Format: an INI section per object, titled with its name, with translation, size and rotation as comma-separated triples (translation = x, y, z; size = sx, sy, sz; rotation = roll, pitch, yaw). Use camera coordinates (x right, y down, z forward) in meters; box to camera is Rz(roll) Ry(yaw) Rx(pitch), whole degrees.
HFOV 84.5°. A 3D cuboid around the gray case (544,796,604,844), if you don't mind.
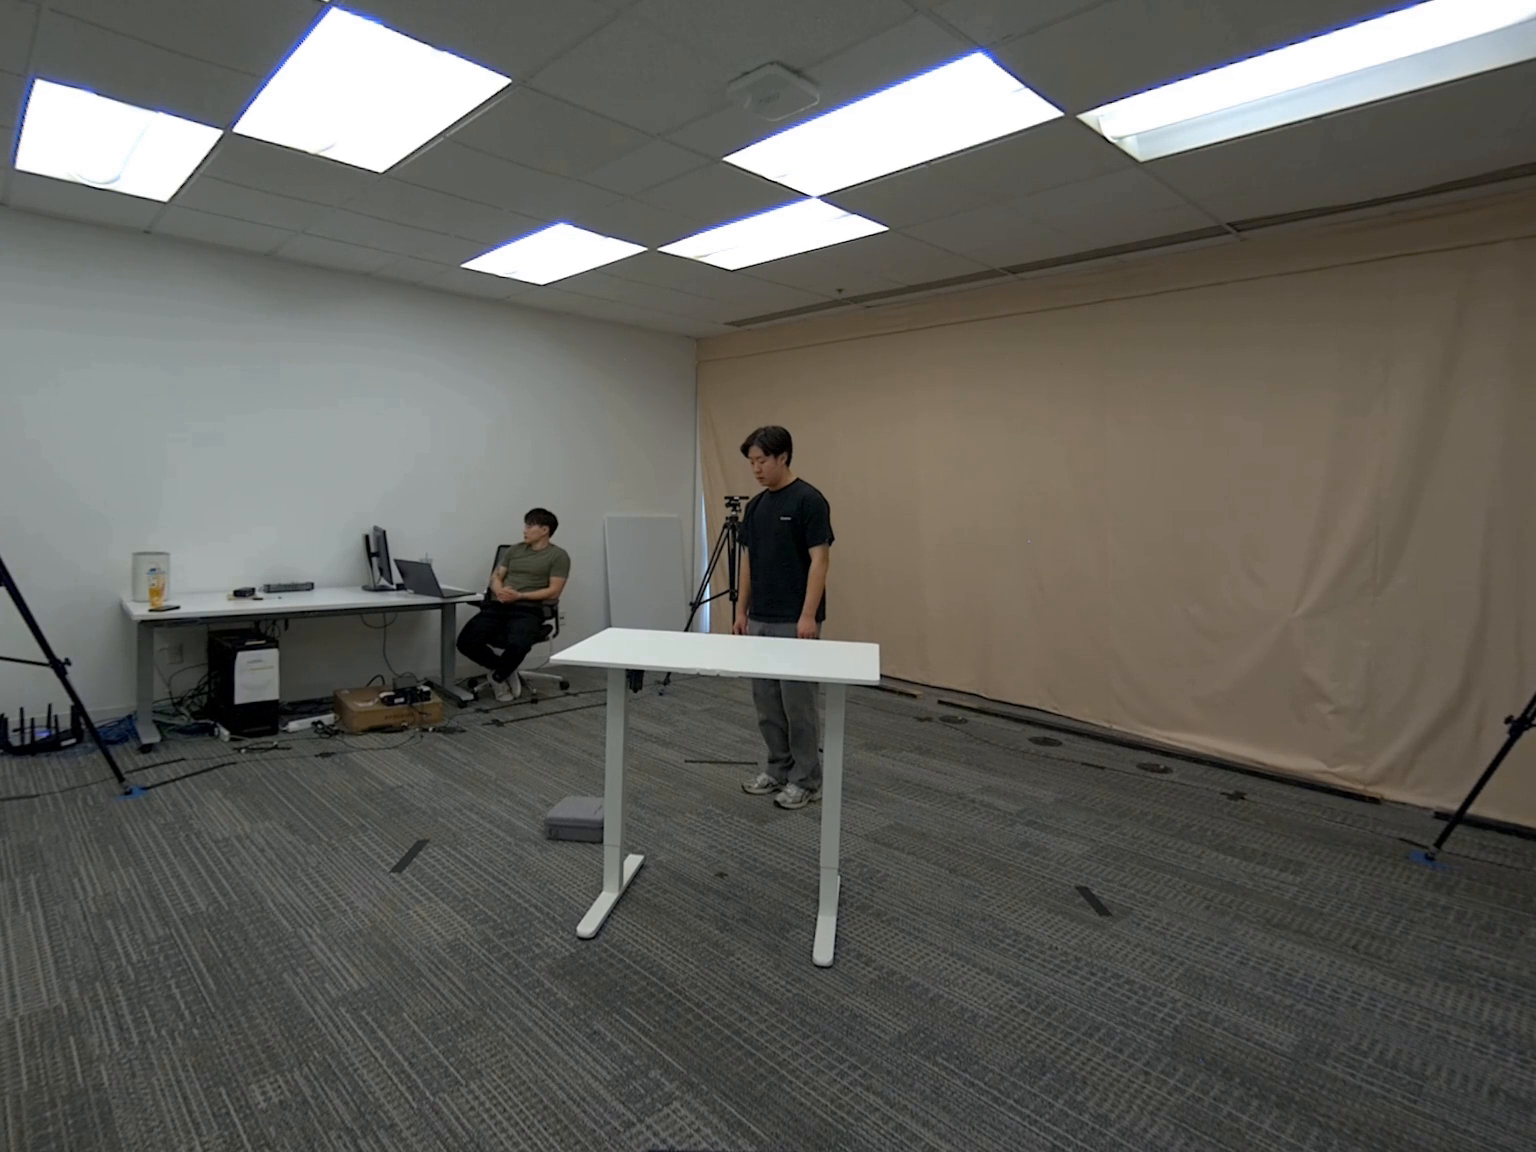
[gray case]
translation = -0.785, 0.999, 3.483
size = 0.289, 0.103, 0.262
rotation = 2, 6, 9
